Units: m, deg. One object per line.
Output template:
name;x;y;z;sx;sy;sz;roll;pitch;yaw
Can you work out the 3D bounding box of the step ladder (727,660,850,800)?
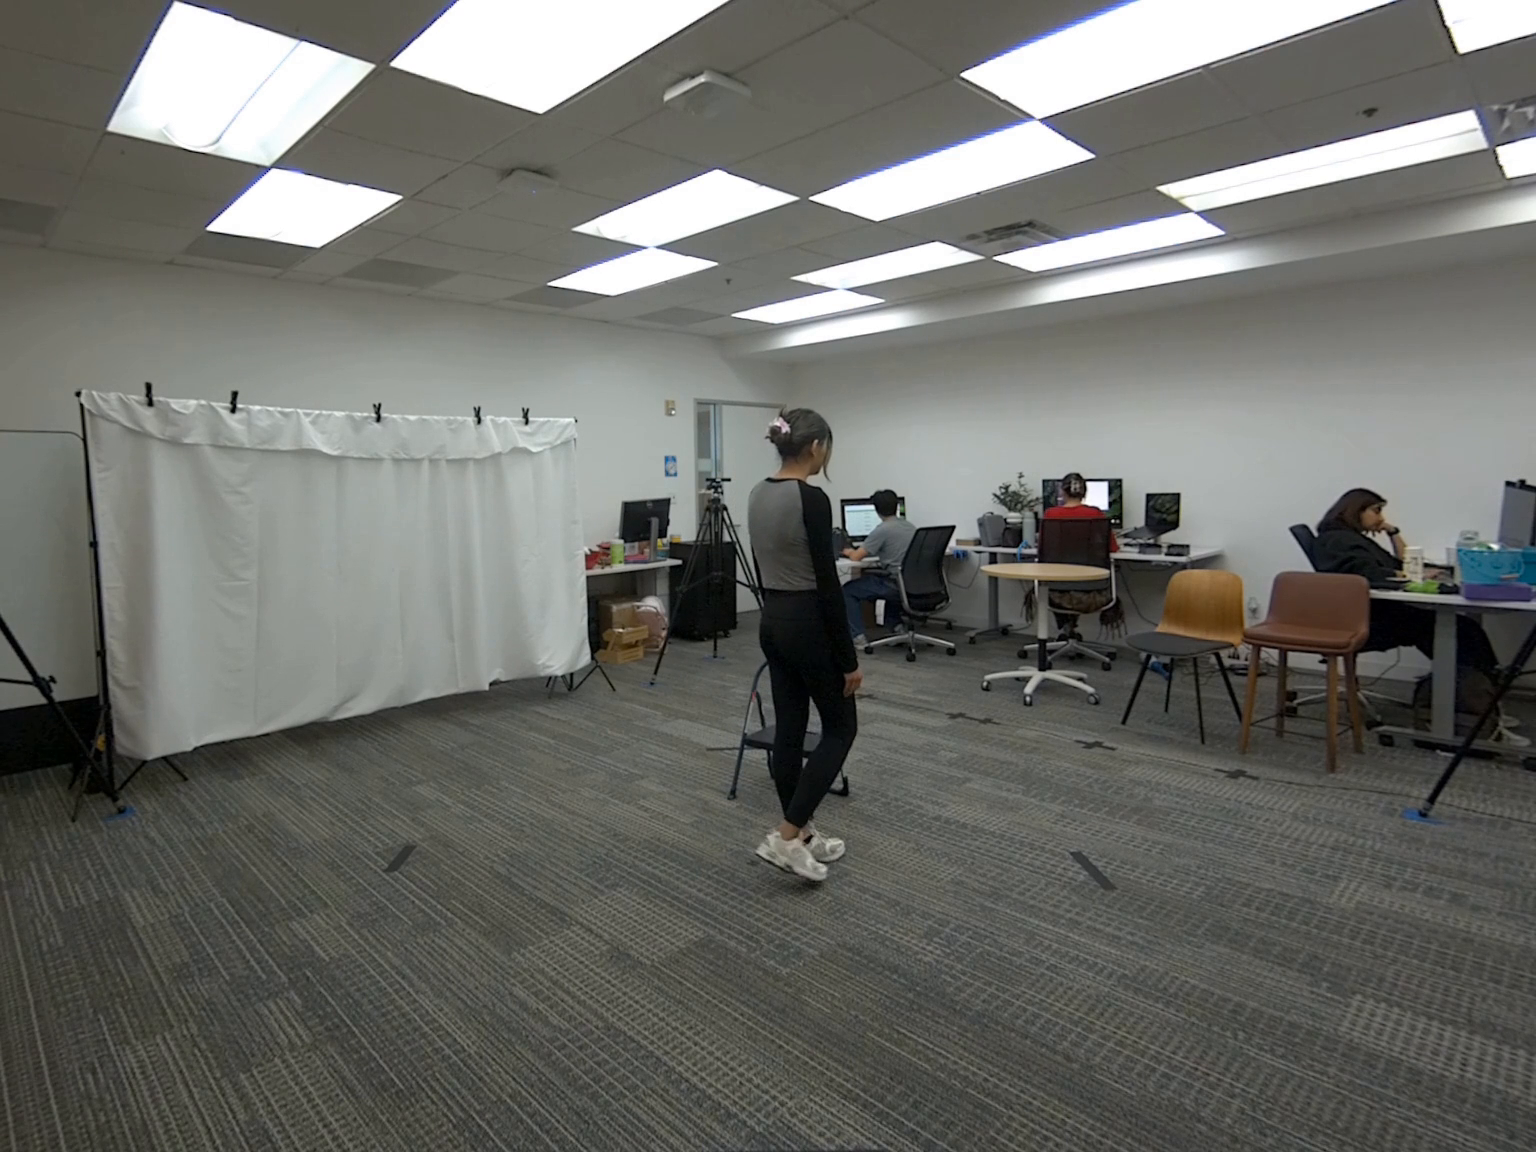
step ladder;0.091;0.667;3.725;0.443;0.604;0.340;3;6;36
